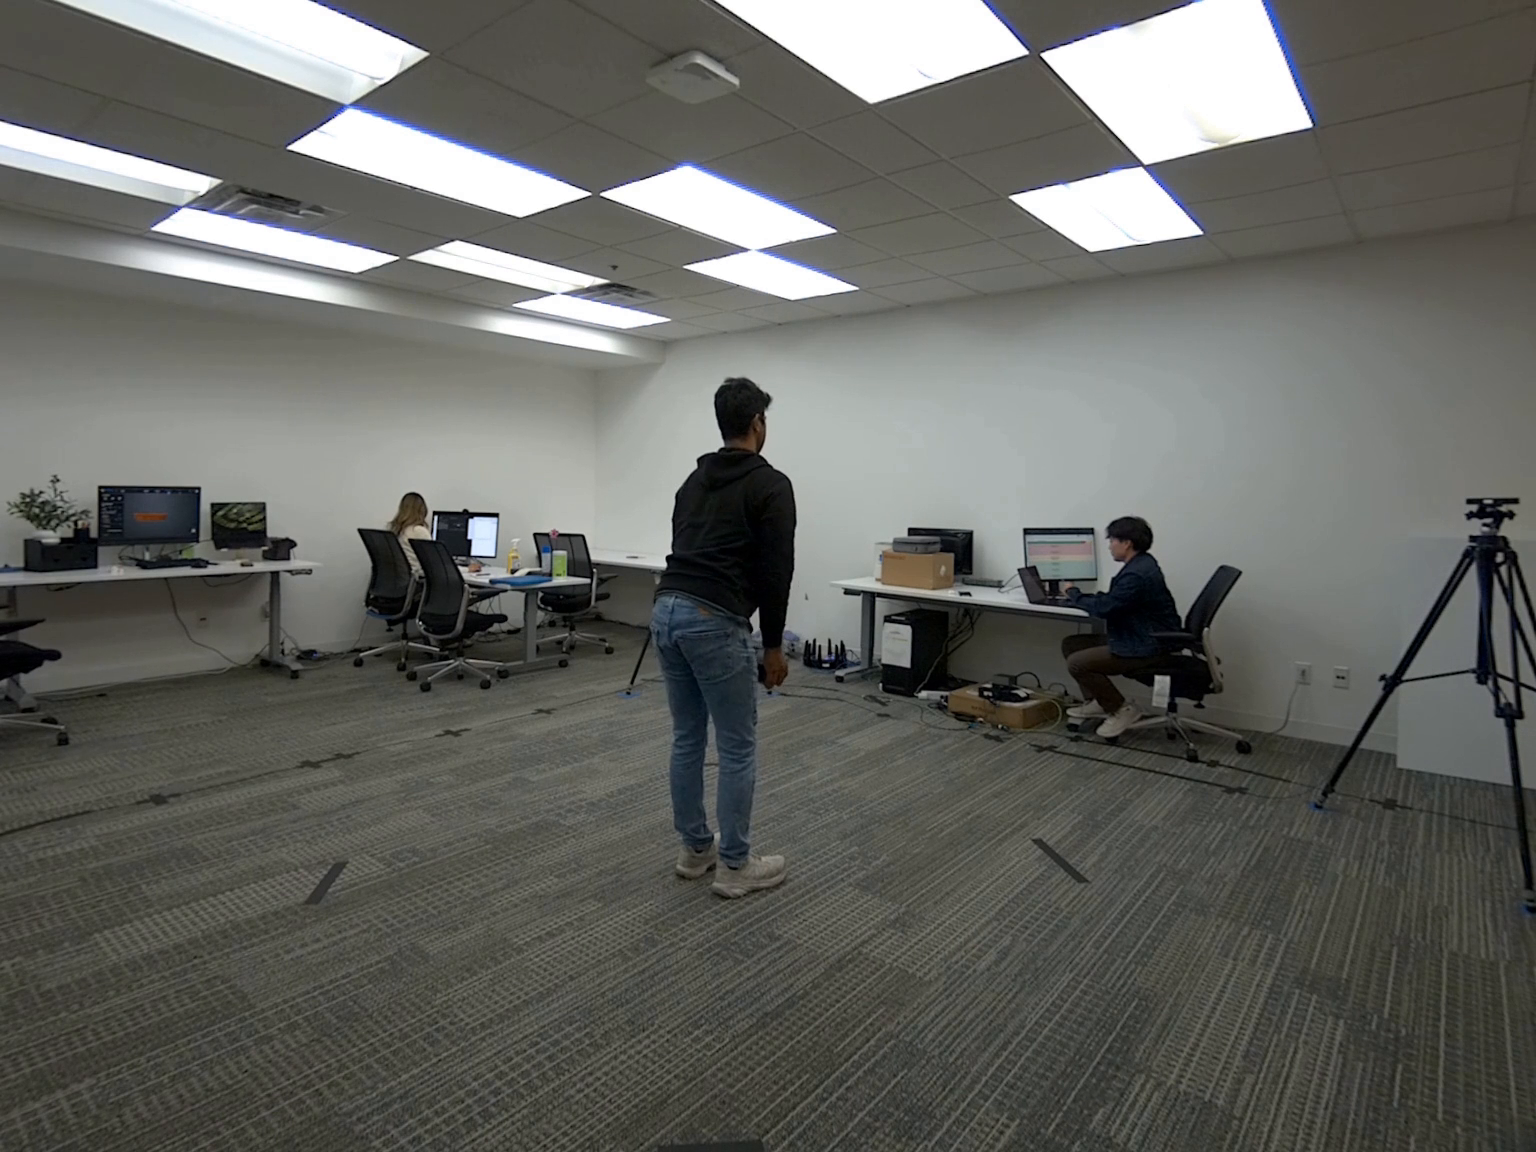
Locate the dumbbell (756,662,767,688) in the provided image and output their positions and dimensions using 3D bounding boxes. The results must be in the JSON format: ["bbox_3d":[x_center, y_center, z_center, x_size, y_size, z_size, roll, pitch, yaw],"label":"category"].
[{"bbox_3d":[-0.108,0.327,3.087,0.304,0.105,0.122,7,37,41],"label":"dumbbell"}]
